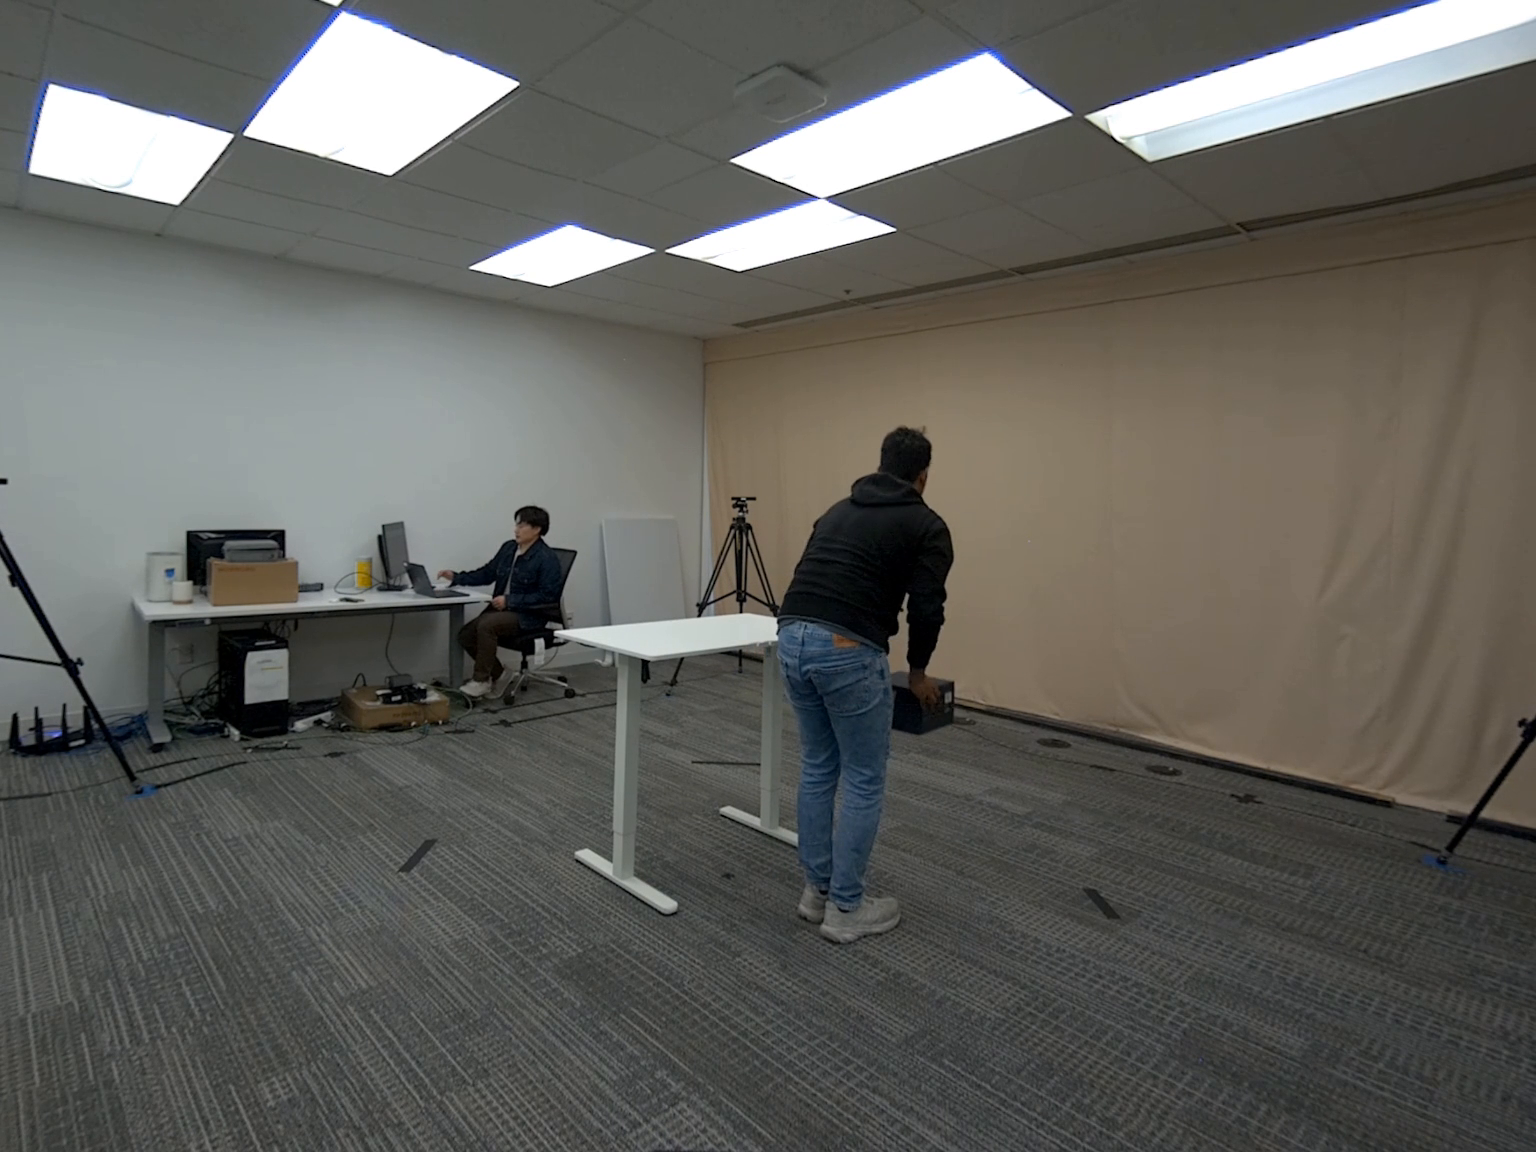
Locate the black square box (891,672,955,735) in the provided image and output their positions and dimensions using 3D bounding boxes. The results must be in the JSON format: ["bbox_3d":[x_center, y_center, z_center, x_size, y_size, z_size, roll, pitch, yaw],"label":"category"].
[{"bbox_3d":[0.494,0.452,2.996,0.234,0.155,0.212,6,8,44],"label":"black square box"}]
